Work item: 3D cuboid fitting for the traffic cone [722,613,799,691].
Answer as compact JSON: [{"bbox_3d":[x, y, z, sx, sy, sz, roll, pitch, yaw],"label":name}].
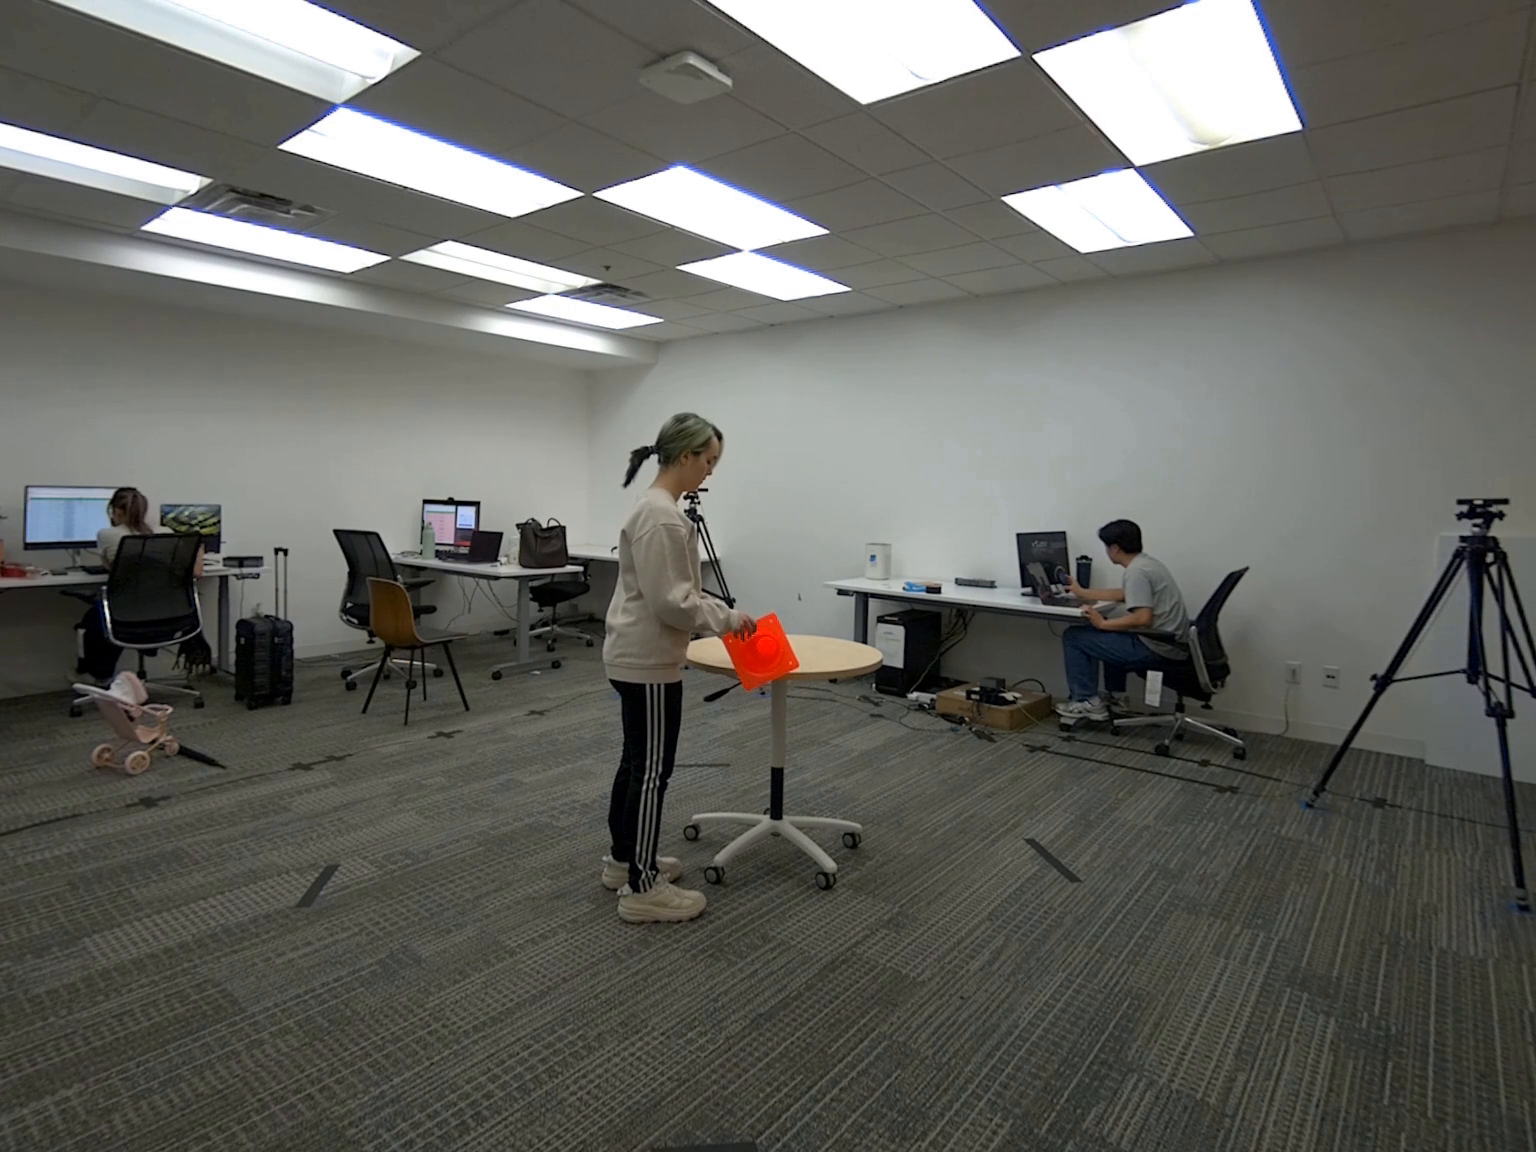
[{"bbox_3d":[-0.011,0.248,2.968,0.205,0.205,0.380,-32,-4,4],"label":"traffic cone"}]
